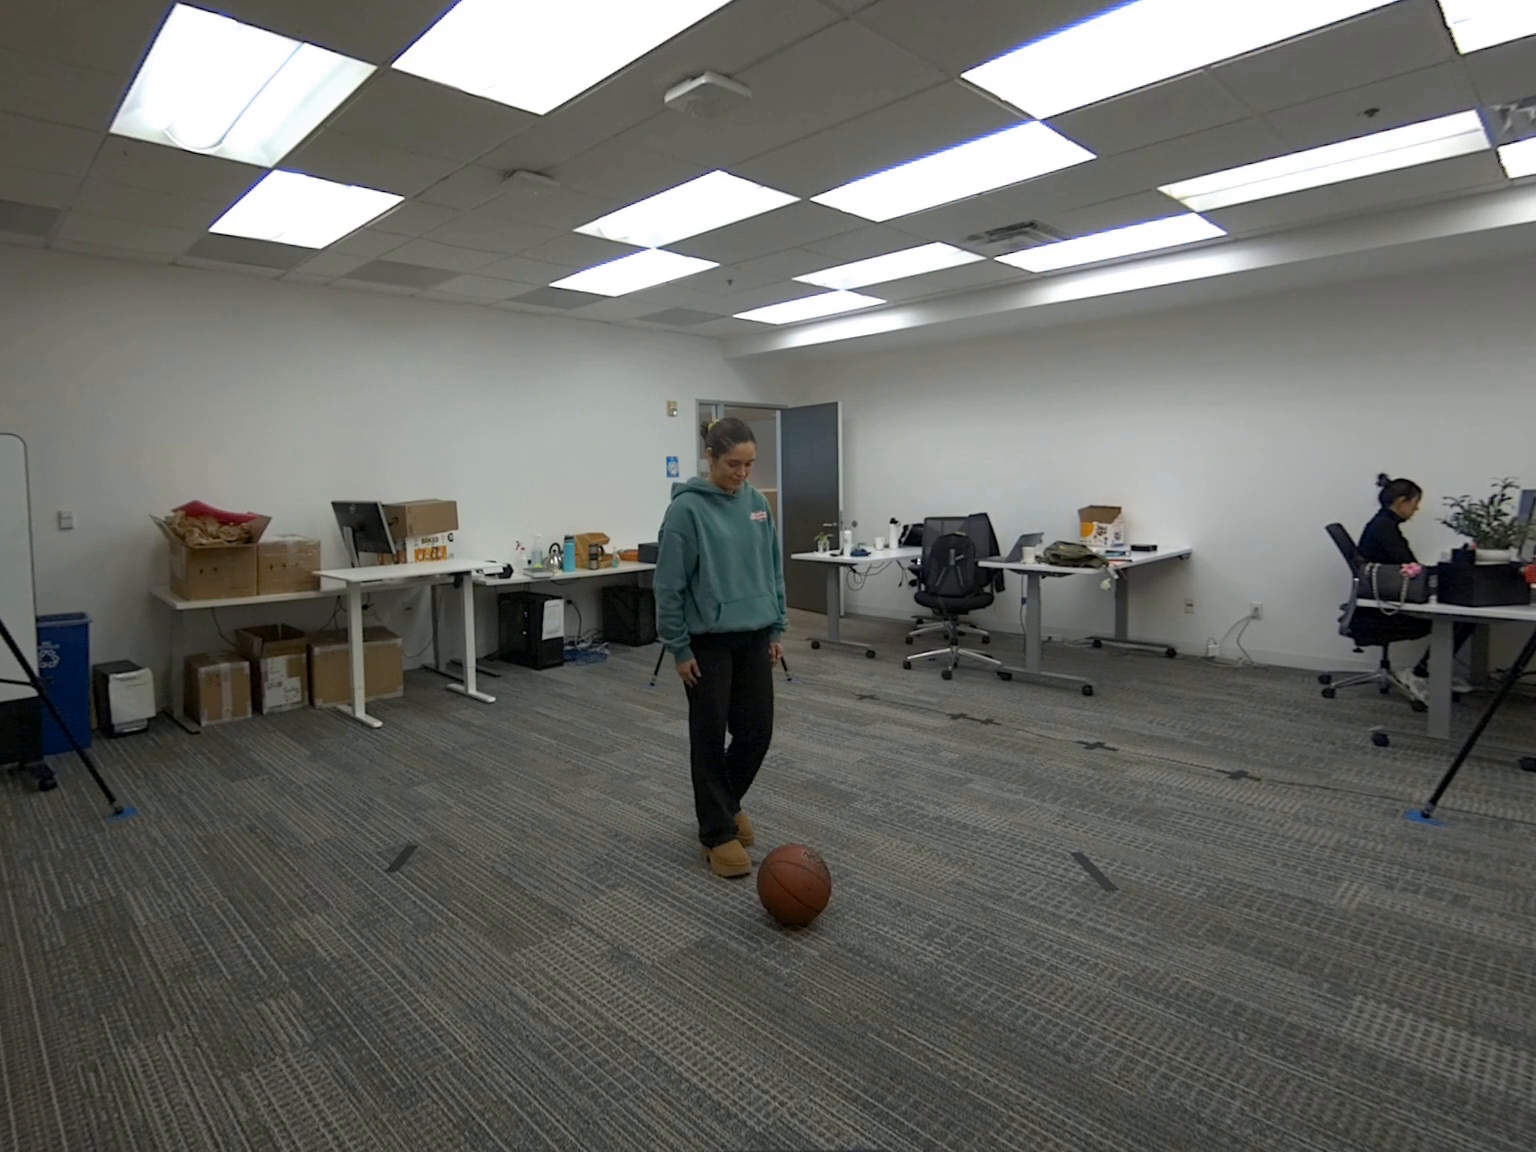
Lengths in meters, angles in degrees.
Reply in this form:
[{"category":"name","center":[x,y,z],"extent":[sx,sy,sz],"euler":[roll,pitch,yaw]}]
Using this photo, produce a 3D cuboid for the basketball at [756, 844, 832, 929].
[{"category":"basketball","center":[0.087,0.965,2.706],"extent":[0.236,0.235,0.237],"euler":[-1,5,-2]}]
